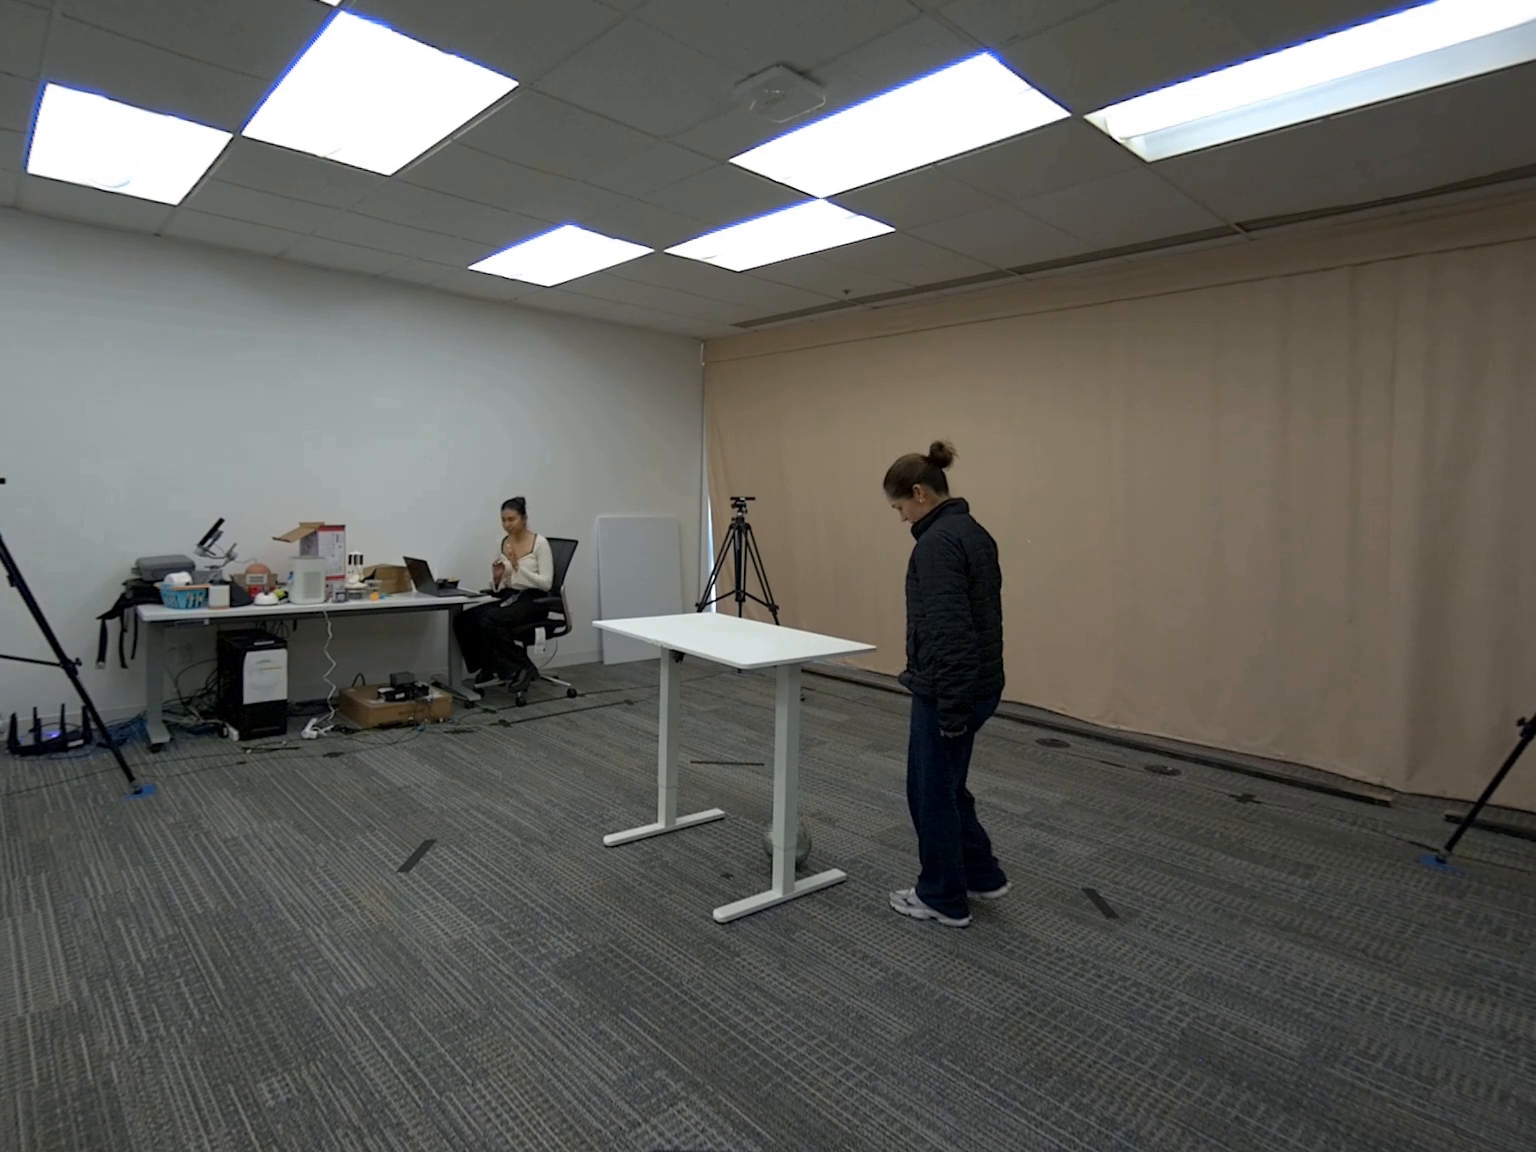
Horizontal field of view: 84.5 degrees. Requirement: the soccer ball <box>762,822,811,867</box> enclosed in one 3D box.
[{"bbox_3d":[0.072,1.014,3.192,0.187,0.187,0.188,1,4,-1],"label":"soccer ball"}]
